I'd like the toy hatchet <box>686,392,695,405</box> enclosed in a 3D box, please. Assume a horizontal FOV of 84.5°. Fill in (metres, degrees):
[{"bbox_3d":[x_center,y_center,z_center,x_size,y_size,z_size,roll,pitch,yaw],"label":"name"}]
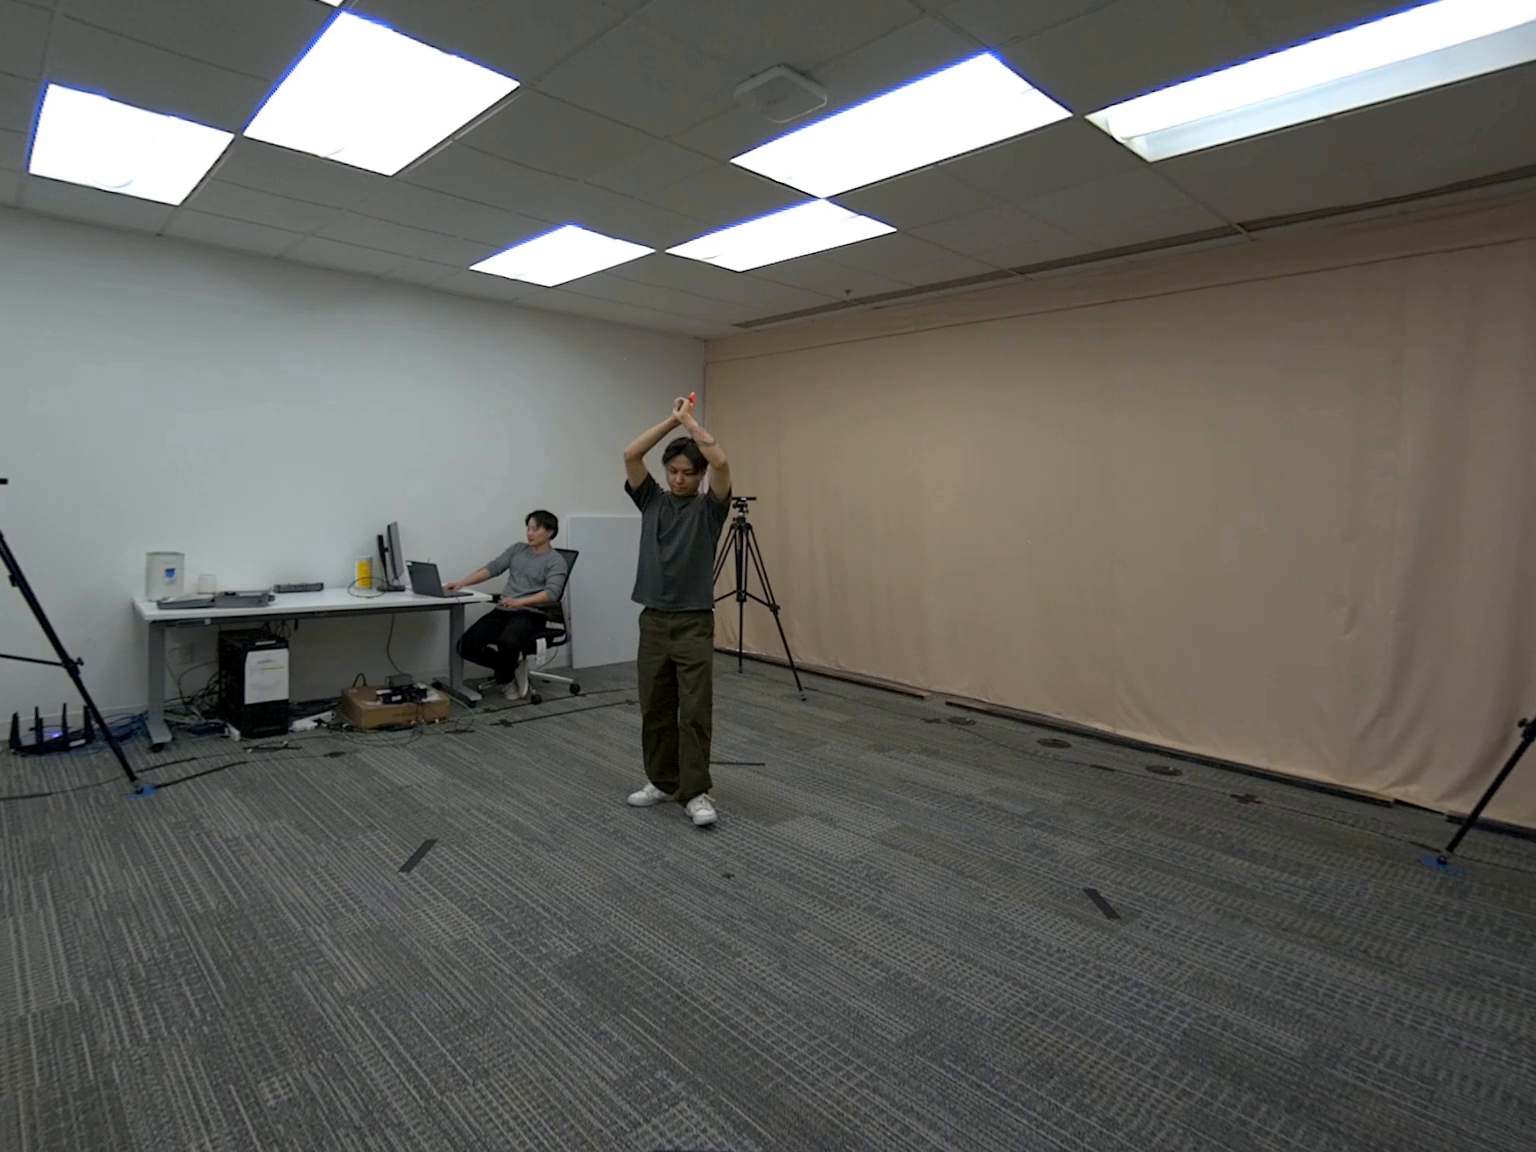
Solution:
[{"bbox_3d":[-0.355,-0.754,3.650,0.030,0.131,0.267,21,-1,9],"label":"toy hatchet"}]
